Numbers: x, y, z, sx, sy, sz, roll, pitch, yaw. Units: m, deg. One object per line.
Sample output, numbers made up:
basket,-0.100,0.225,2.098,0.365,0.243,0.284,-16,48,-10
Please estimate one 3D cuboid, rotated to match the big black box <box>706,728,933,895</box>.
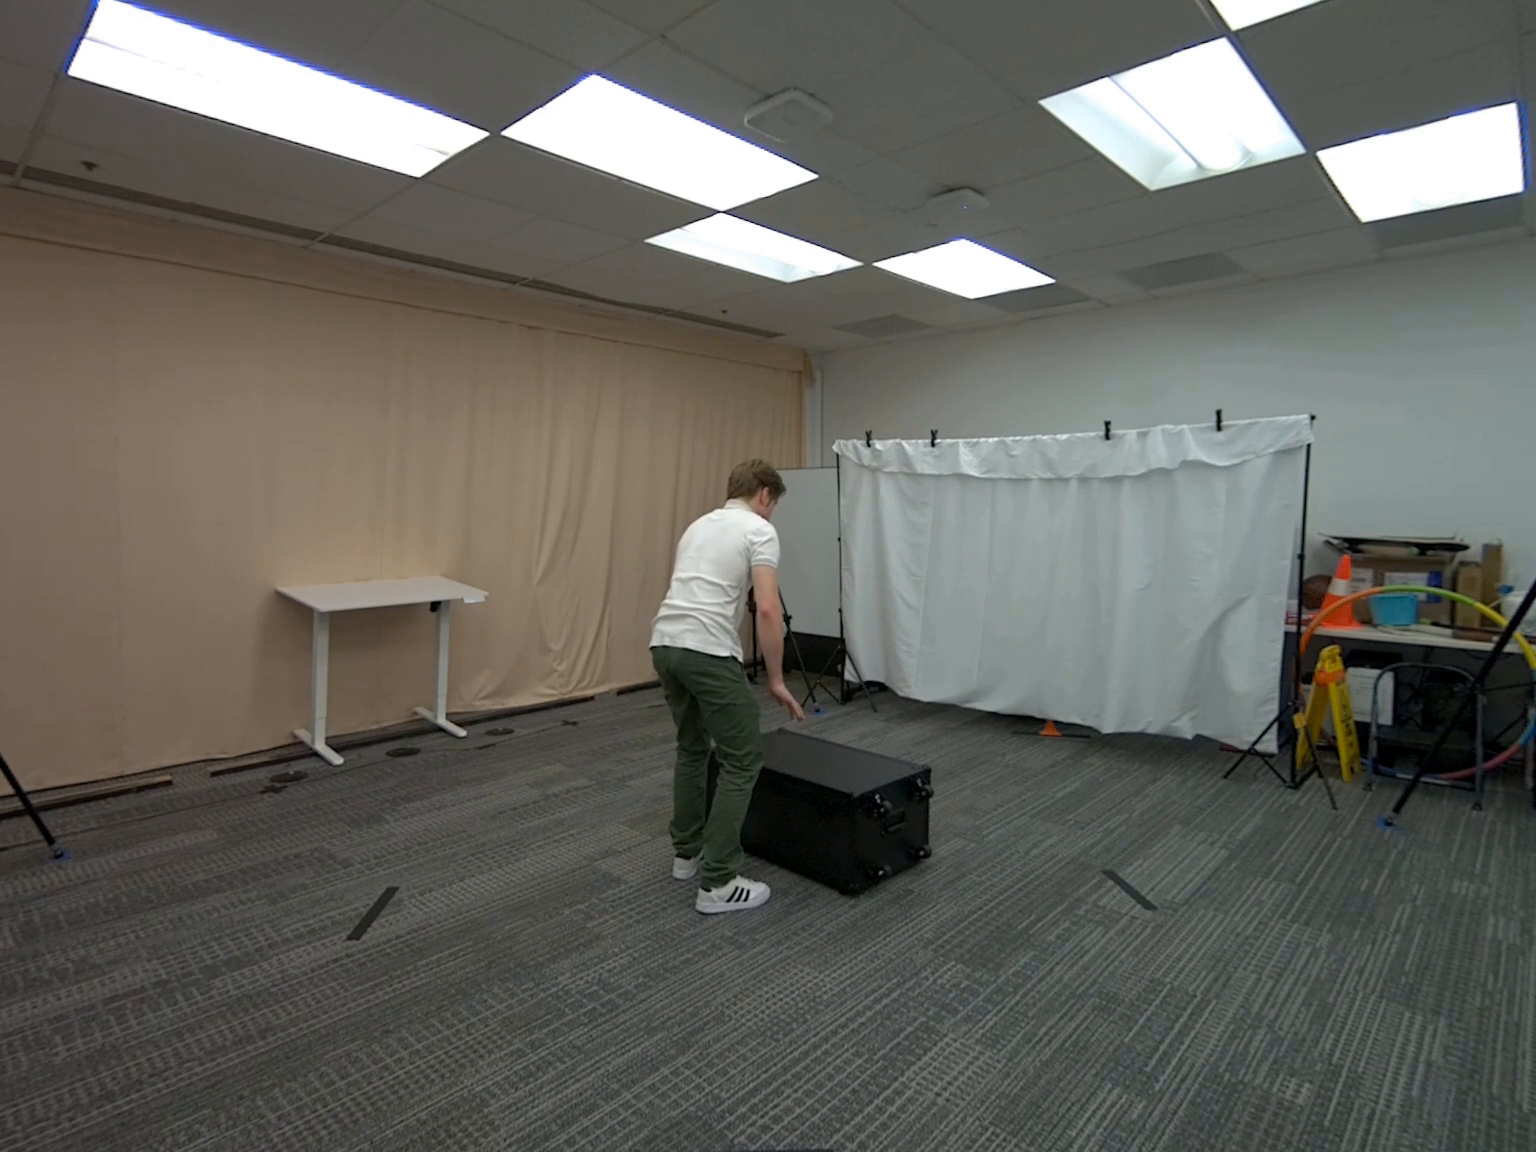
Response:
big black box,0.209,0.917,3.377,0.890,0.395,0.505,3,5,44
